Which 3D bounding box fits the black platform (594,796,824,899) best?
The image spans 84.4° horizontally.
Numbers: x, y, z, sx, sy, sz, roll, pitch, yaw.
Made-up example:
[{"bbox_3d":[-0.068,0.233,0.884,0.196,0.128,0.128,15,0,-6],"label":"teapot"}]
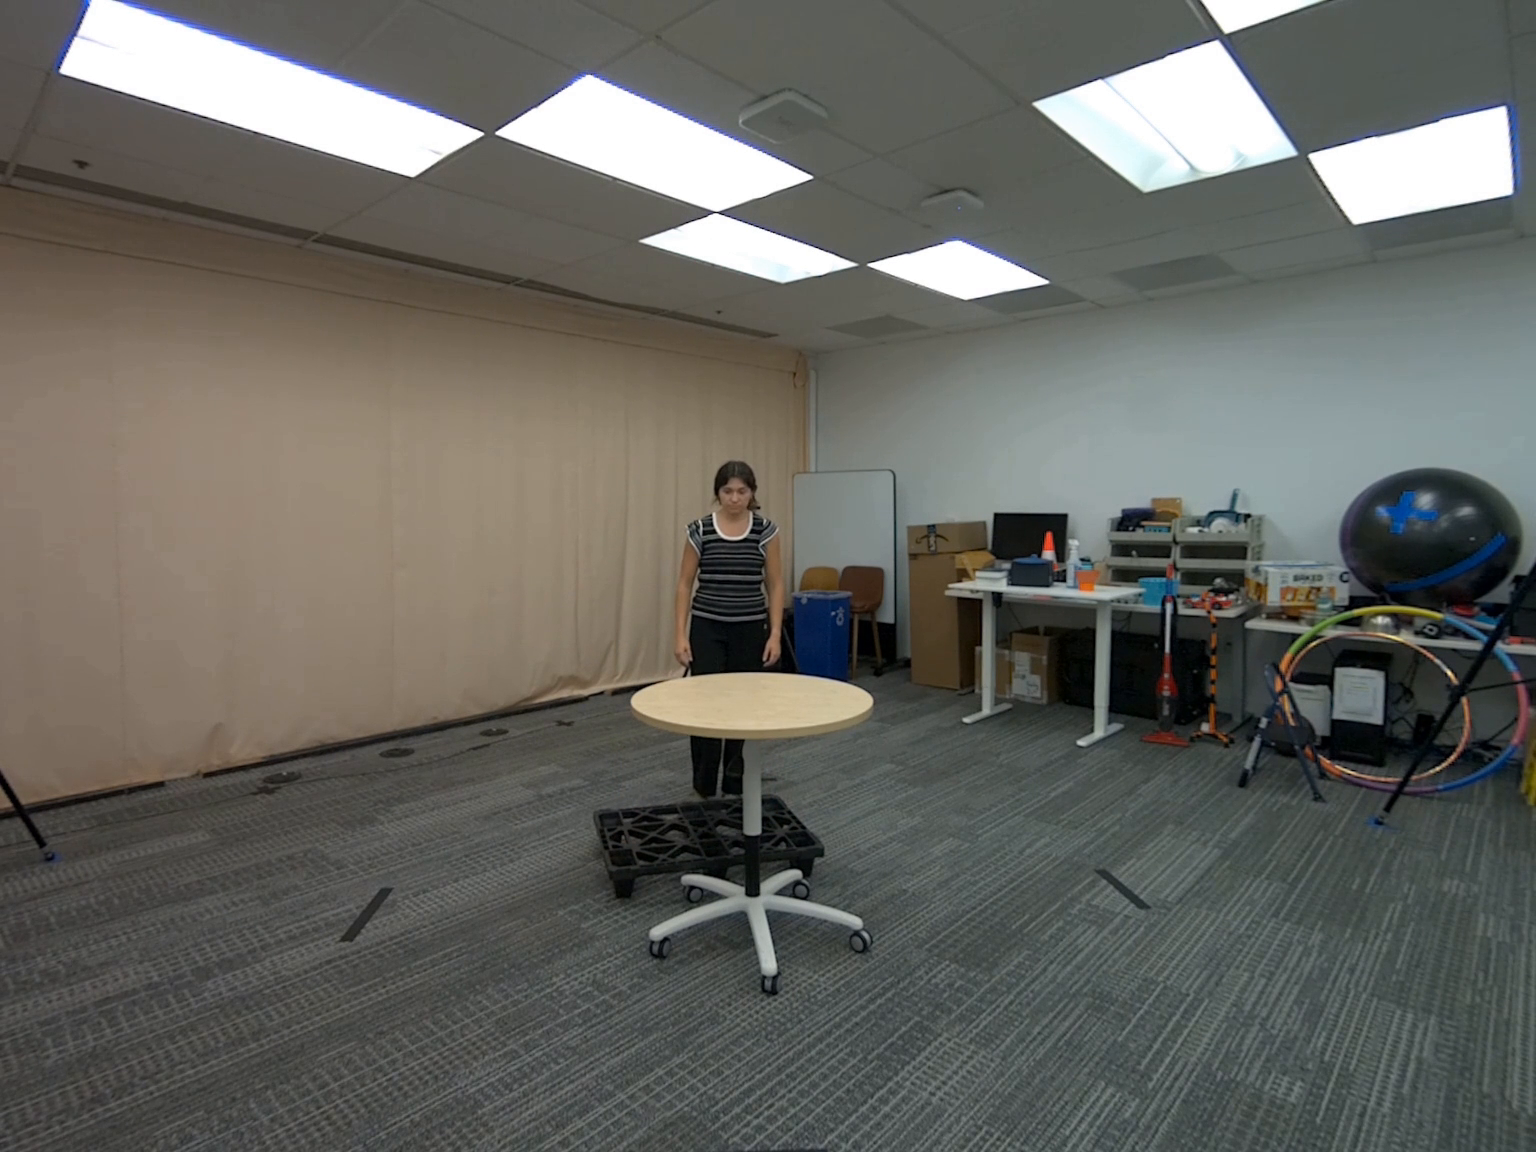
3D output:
[{"bbox_3d":[-0.247,1.051,3.294,0.794,0.143,0.616,-2,6,-15],"label":"black platform"}]
